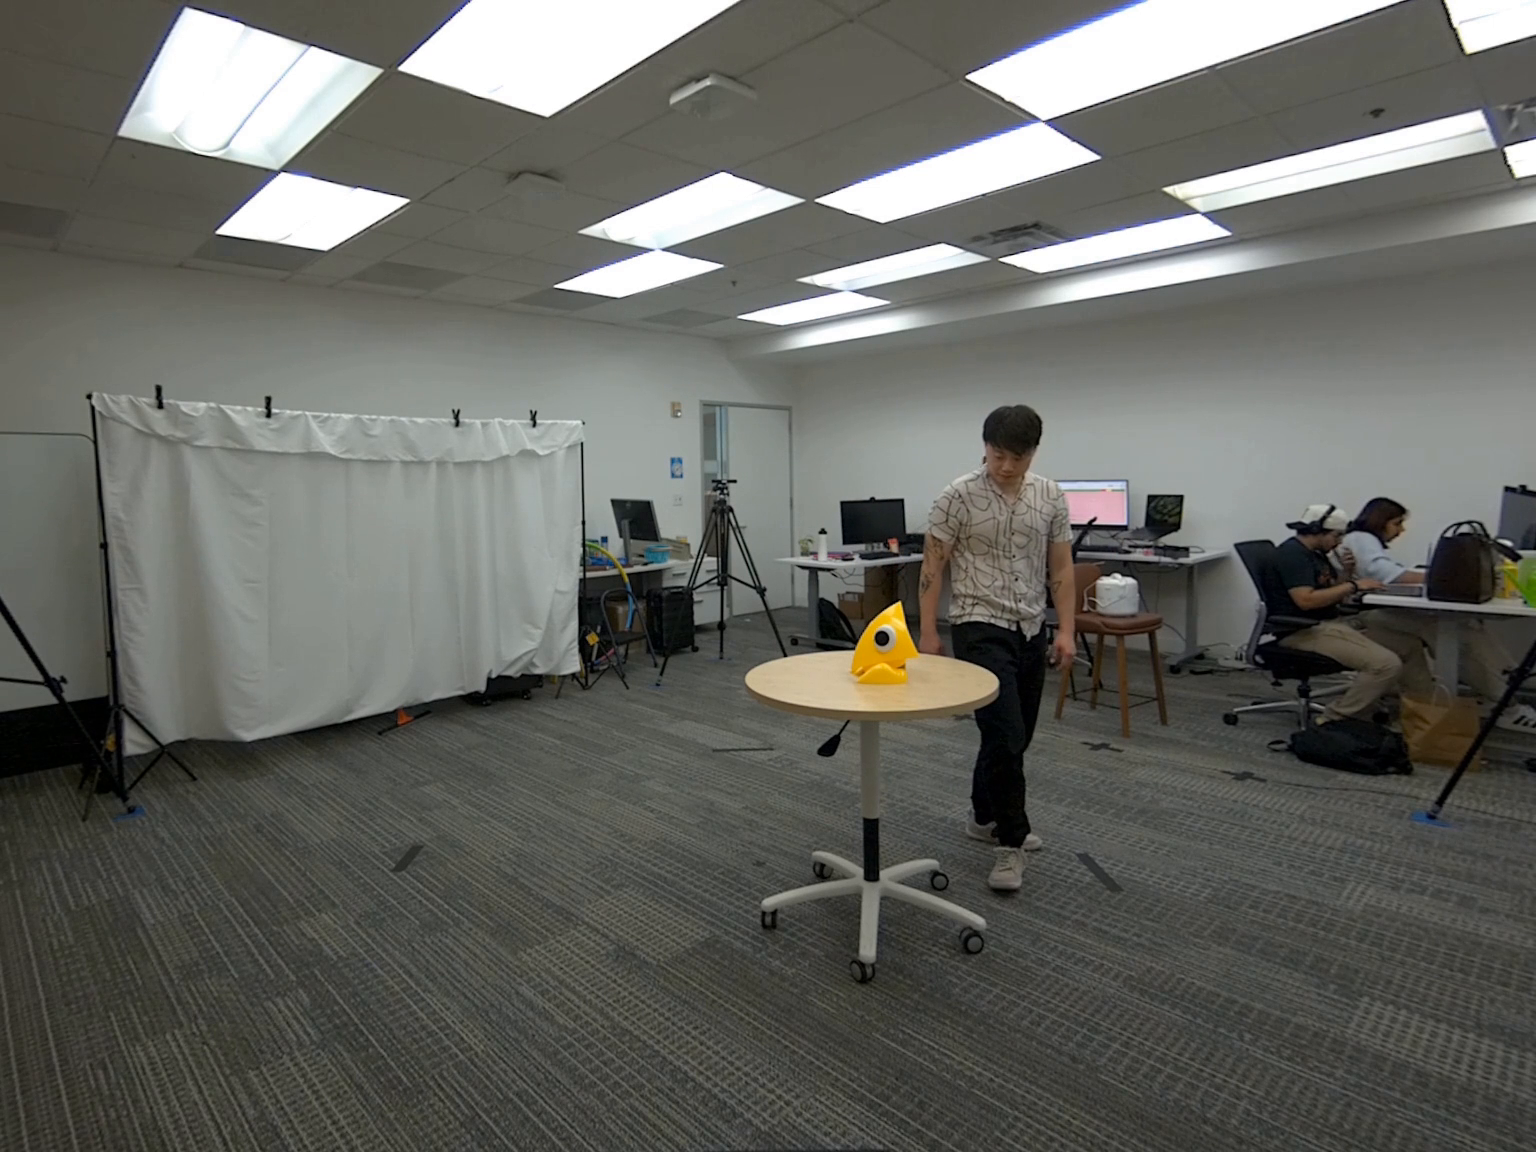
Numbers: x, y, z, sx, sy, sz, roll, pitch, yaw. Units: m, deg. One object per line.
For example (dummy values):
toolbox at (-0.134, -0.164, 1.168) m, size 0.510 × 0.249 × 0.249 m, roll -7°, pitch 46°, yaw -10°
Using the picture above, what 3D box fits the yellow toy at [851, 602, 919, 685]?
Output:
yellow toy at (0.357, 0.198, 2.626) m, size 0.193 × 0.230 × 0.206 m, roll -2°, pitch 5°, yaw -3°
